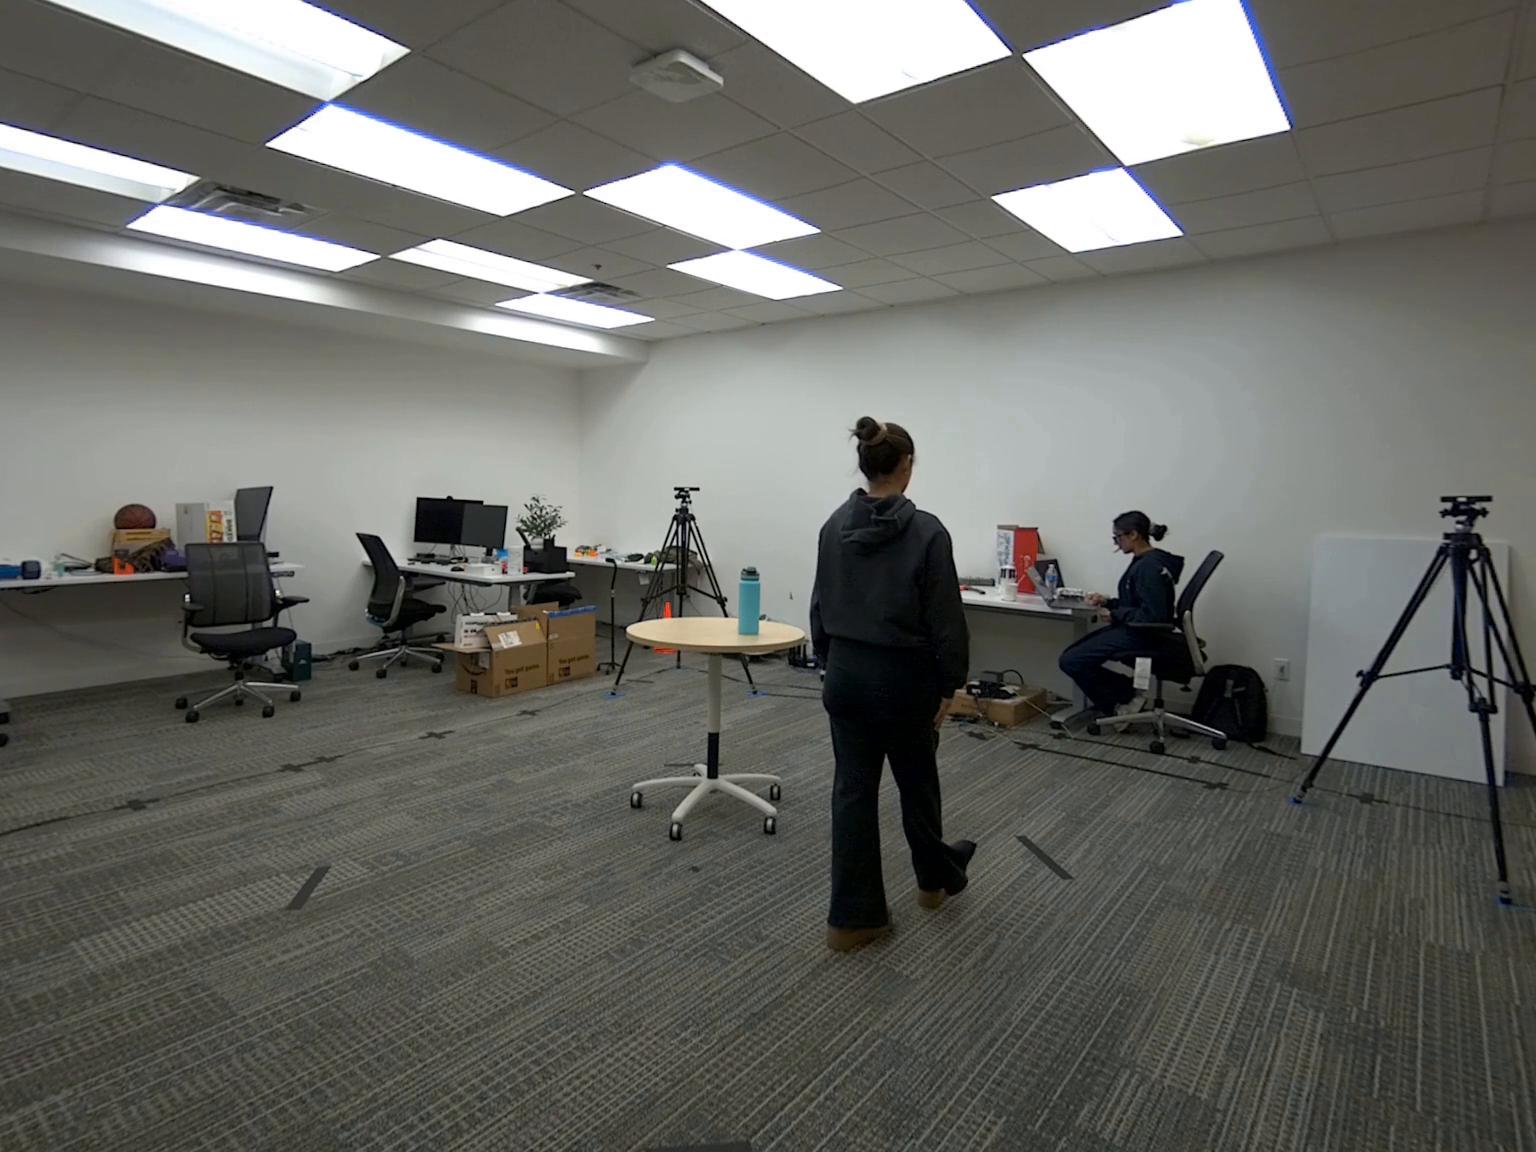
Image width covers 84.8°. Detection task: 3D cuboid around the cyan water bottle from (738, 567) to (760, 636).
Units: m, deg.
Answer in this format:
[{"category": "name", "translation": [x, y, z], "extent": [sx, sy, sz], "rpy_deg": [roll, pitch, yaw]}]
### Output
[{"category": "cyan water bottle", "translation": [-0.085, 0.099, 3.588], "extent": [0.092, 0.283, 0.092], "rpy_deg": [0, 2, -2]}]
